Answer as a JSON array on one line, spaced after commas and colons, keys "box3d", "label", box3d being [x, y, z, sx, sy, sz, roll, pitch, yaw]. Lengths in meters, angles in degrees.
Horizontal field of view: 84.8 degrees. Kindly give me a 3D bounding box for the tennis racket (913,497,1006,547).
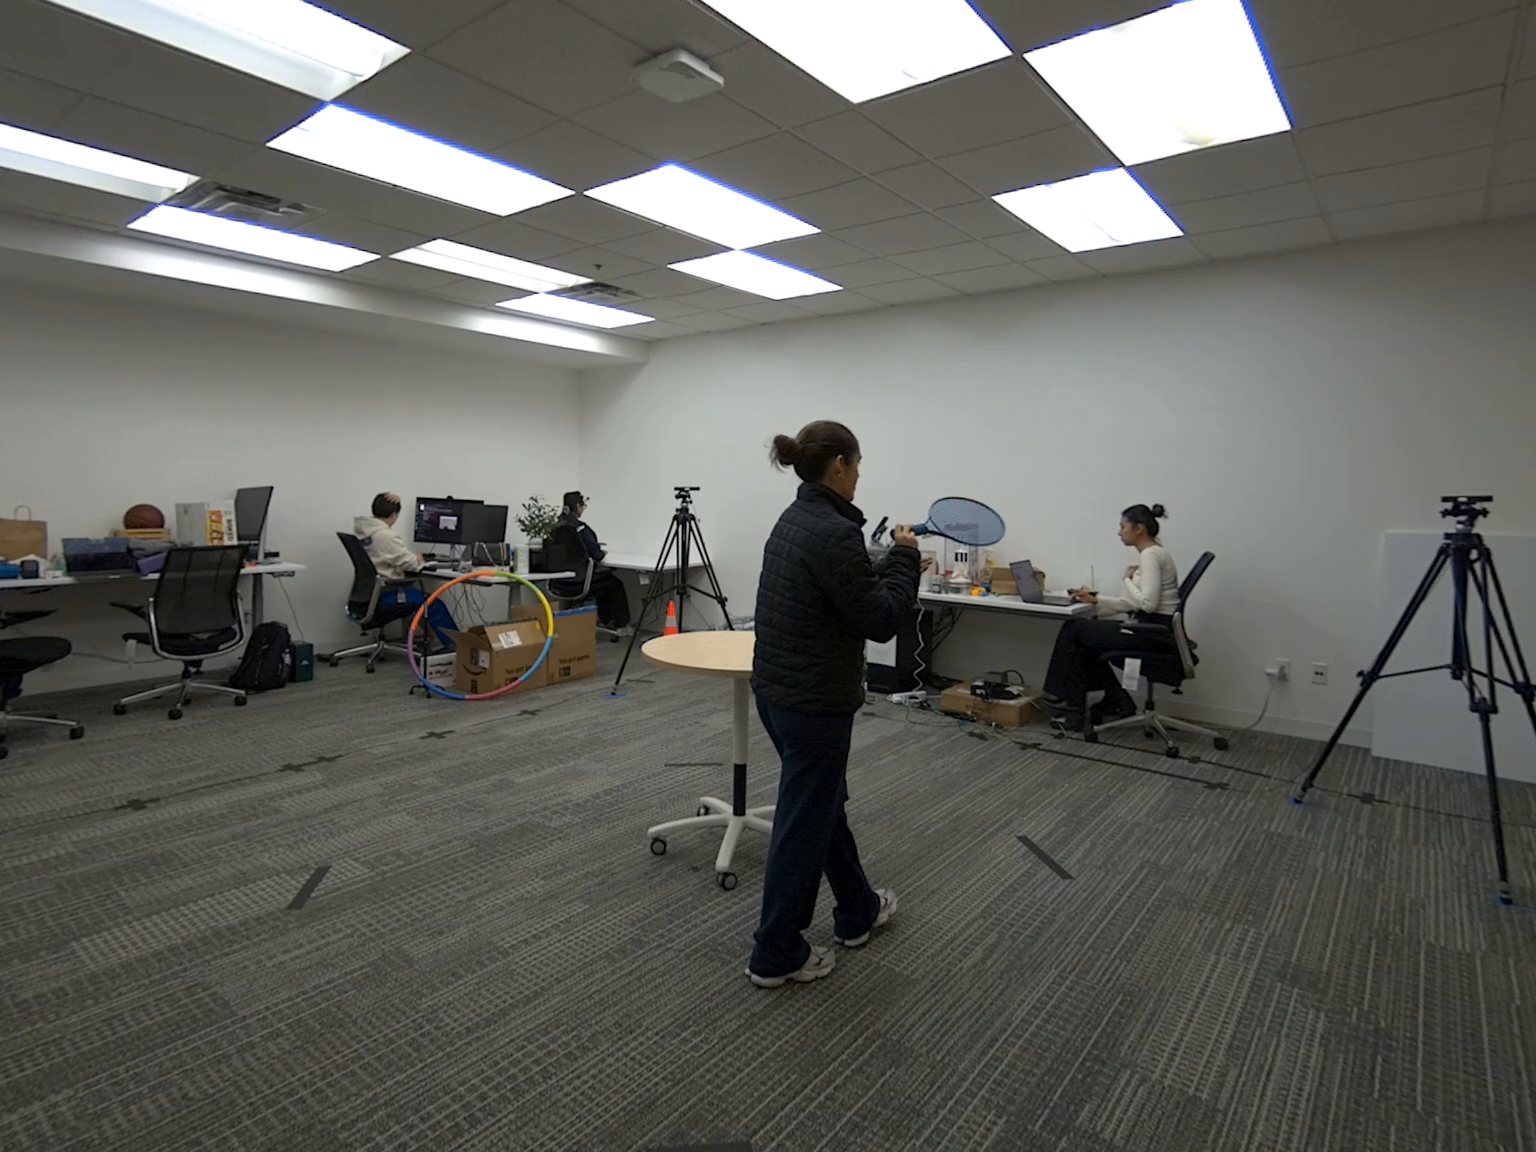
[{"box3d": [0.537, -0.148, 2.541, 0.424, 0.031, 0.222, -21, 53, -38], "label": "tennis racket"}]
